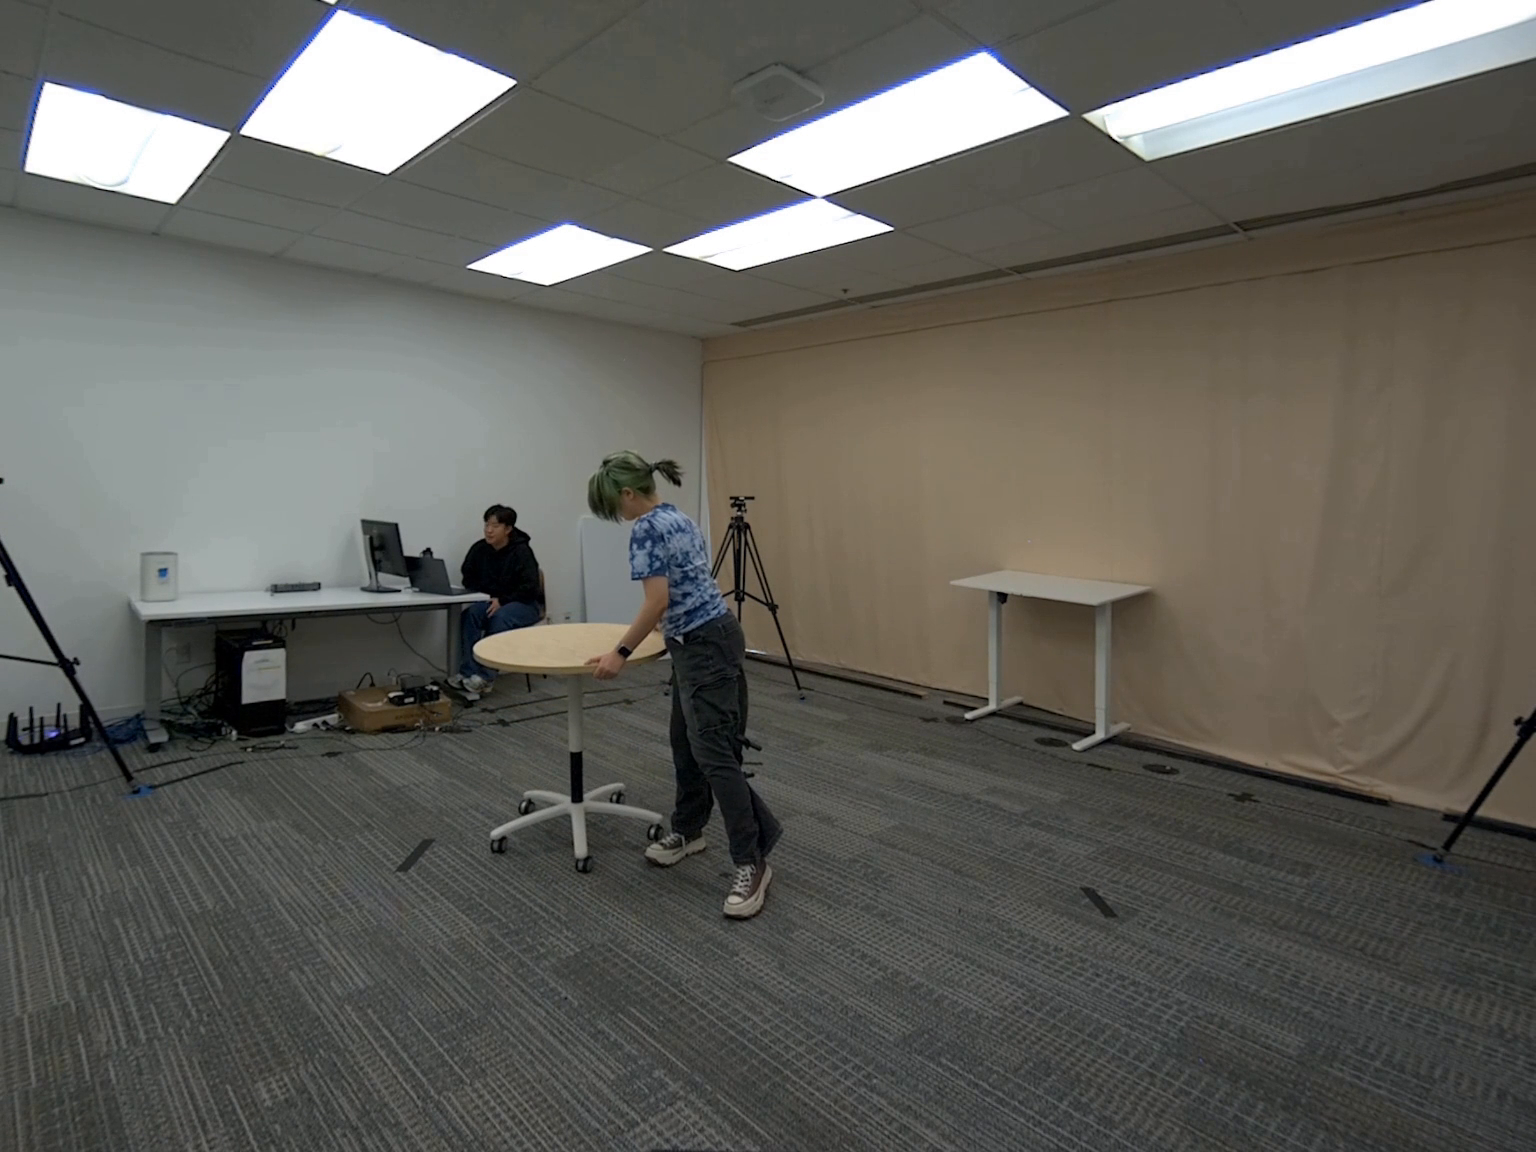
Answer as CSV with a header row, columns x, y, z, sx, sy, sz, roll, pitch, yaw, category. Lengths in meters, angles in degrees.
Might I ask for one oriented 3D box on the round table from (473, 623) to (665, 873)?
x,y,z,sx,sy,sz,roll,pitch,yaw,category
-0.778,0.657,3.378,0.763,0.790,0.768,0,7,-1,round table
